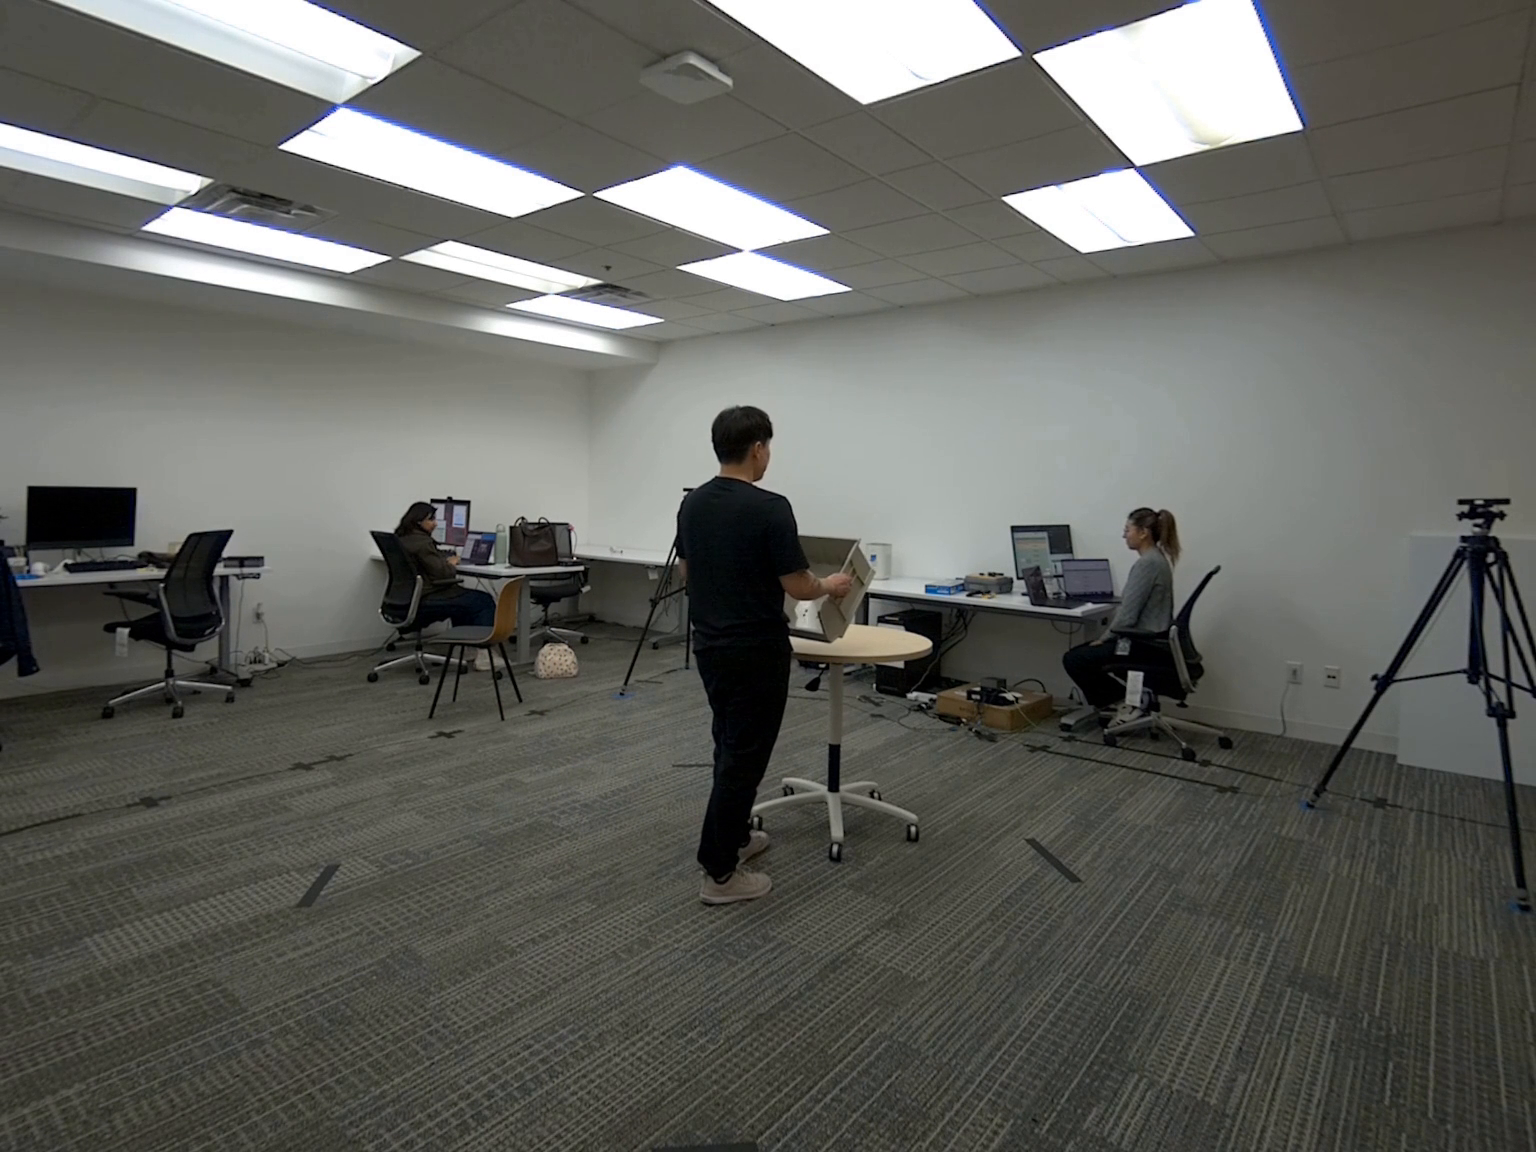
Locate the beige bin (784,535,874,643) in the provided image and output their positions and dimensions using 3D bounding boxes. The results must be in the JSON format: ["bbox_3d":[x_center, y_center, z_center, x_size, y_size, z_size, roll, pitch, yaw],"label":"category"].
[{"bbox_3d":[0.123,0.045,3.227,0.437,0.379,0.182,6,-37,43],"label":"beige bin"}]
